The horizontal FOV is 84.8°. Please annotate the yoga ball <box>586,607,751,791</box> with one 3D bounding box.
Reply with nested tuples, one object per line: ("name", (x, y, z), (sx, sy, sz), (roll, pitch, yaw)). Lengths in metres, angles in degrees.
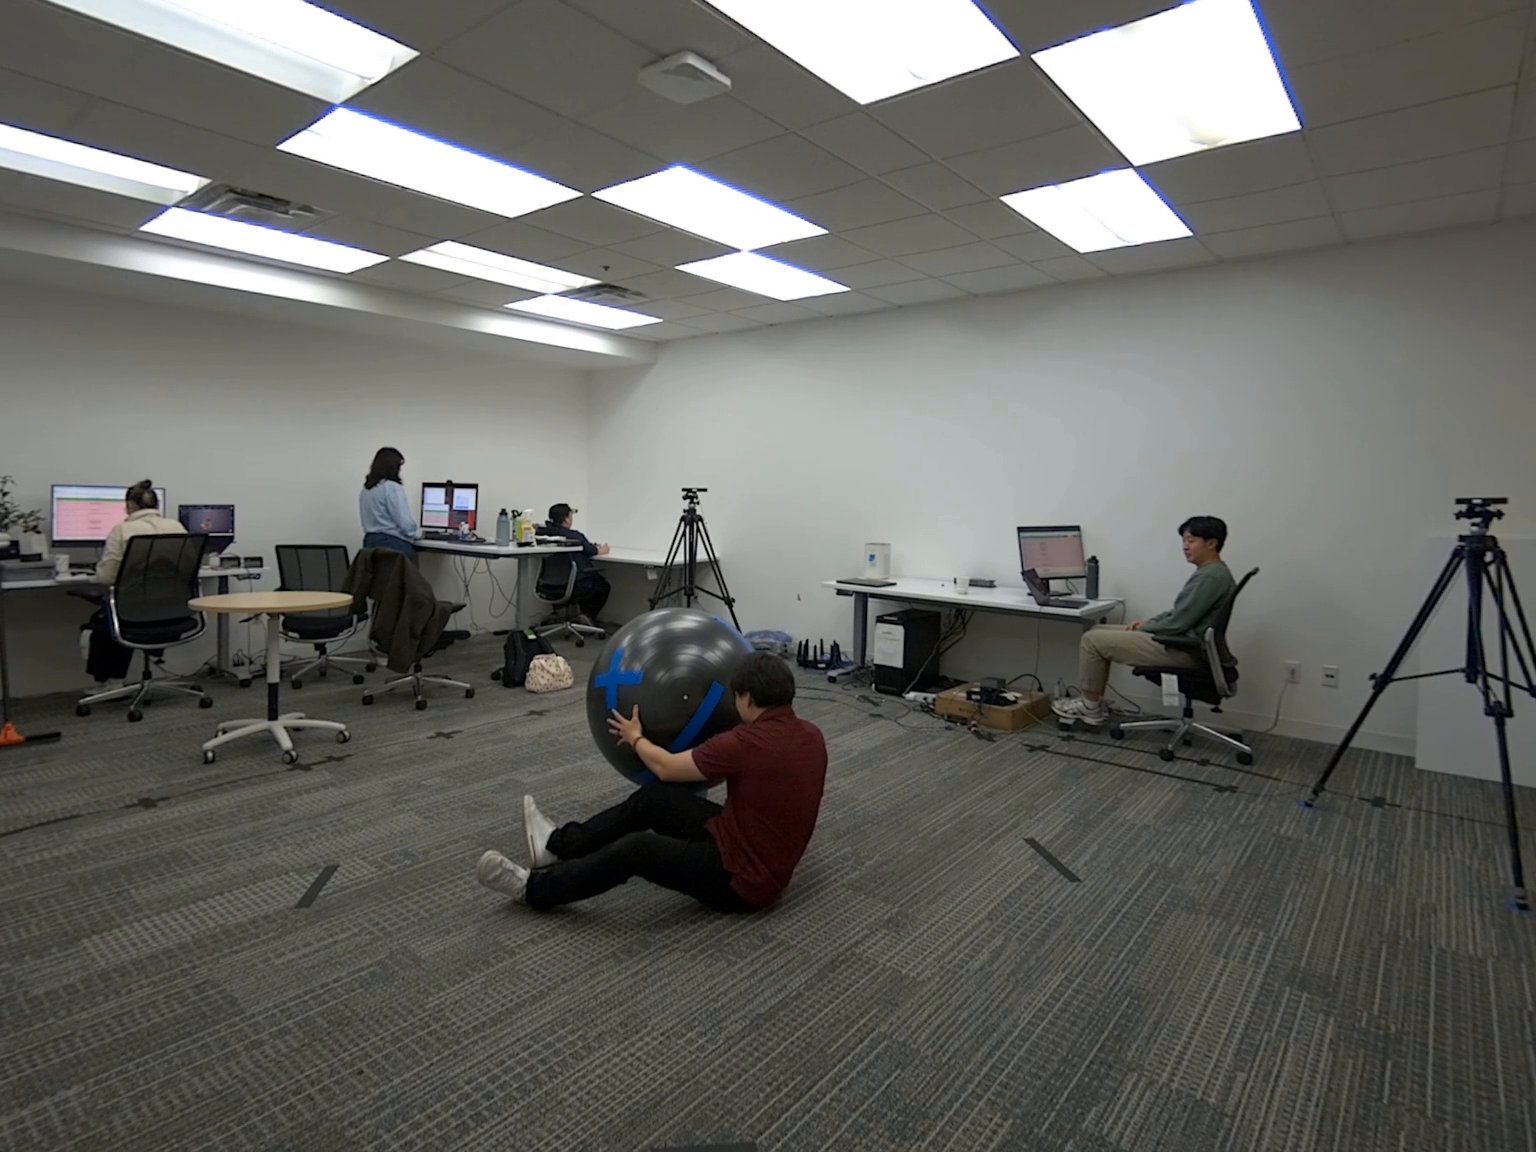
("yoga ball", (-0.384, 0.511, 3.542), (0.757, 0.755, 0.762), (1, 4, -2))
